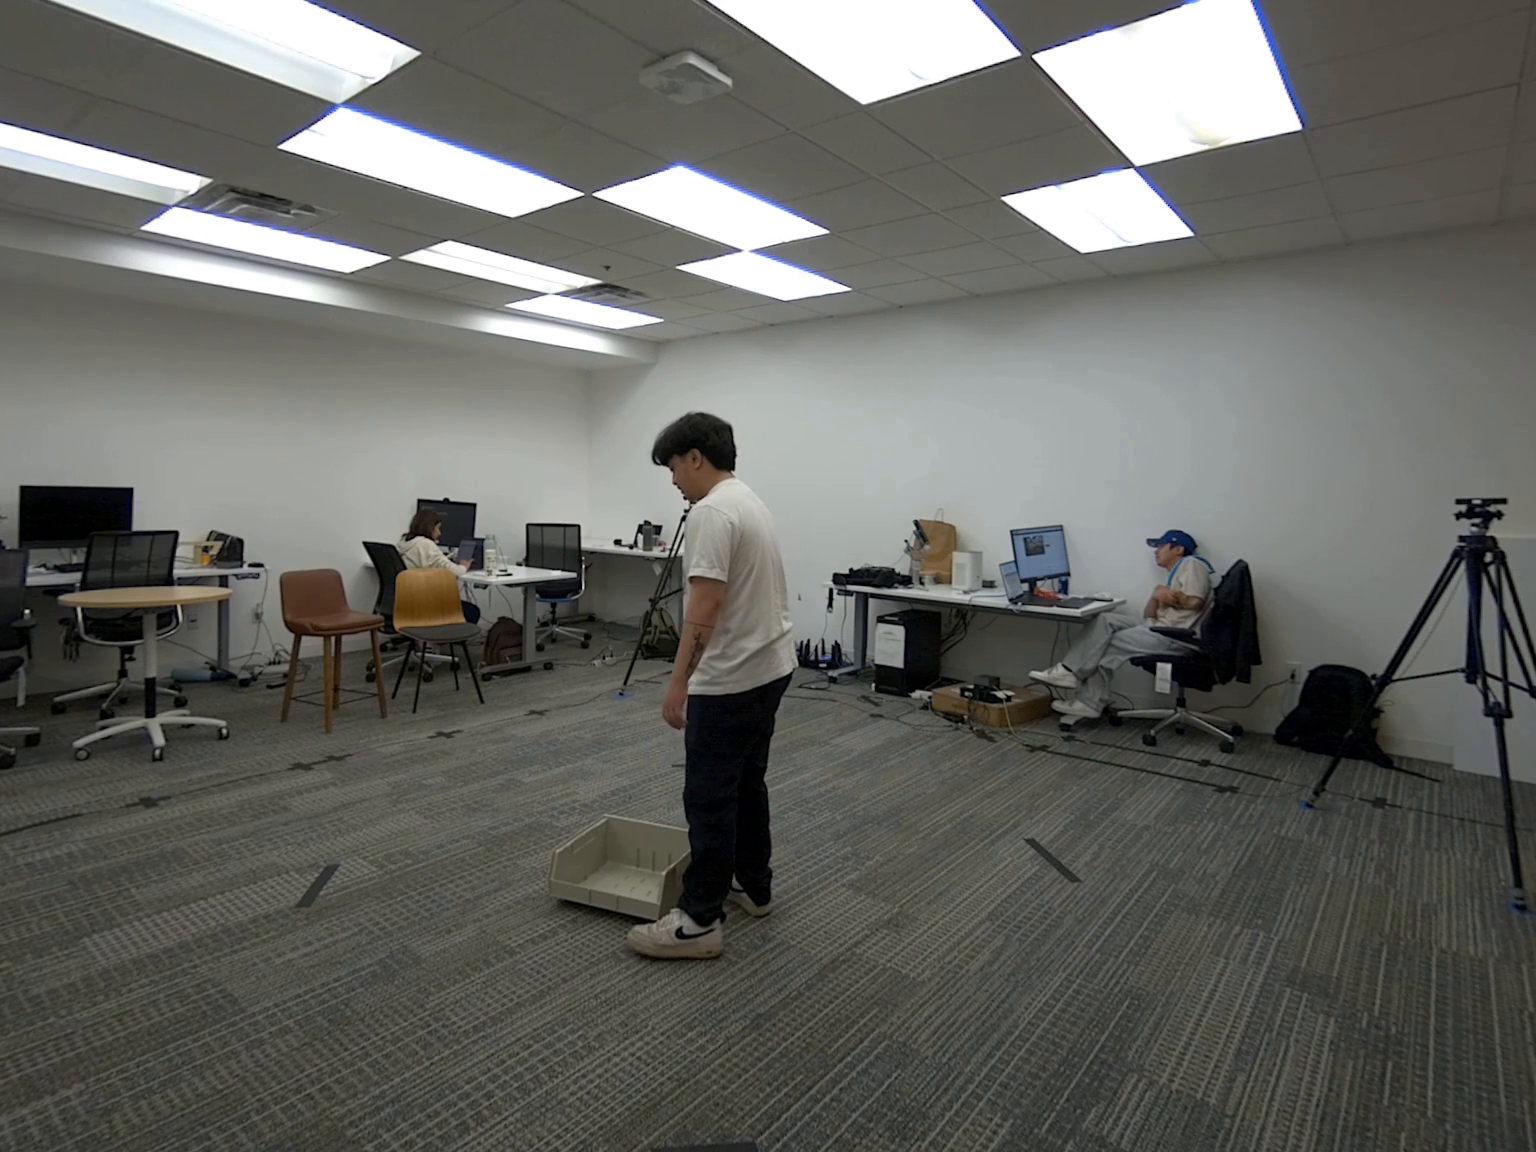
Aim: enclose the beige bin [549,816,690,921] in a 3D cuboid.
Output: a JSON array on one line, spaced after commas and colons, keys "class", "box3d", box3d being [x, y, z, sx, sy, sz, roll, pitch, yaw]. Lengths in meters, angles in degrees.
[{"class": "beige bin", "box3d": [-0.474, 0.996, 2.895, 0.432, 0.188, 0.370, 2, 4, 21]}]
